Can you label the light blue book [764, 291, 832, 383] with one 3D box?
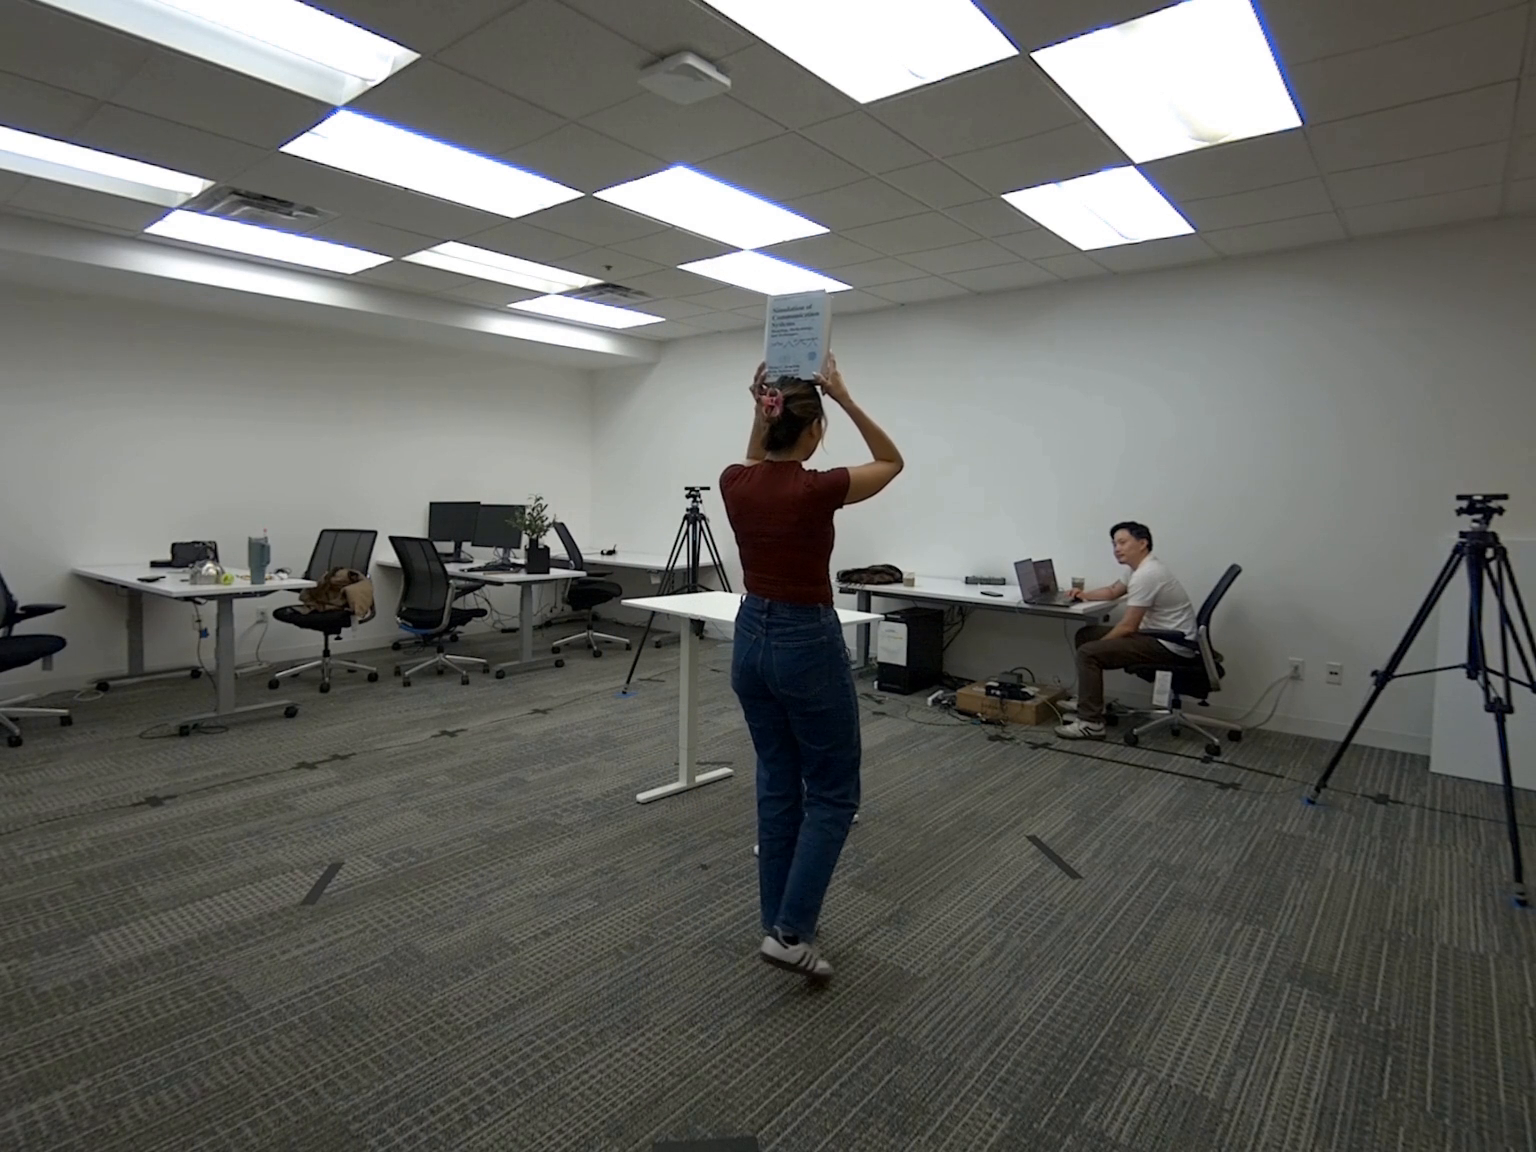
[{"bbox_3d":[0.077,-0.683,2.450,0.196,0.262,0.057,3,-5,26],"label":"light blue book"}]
